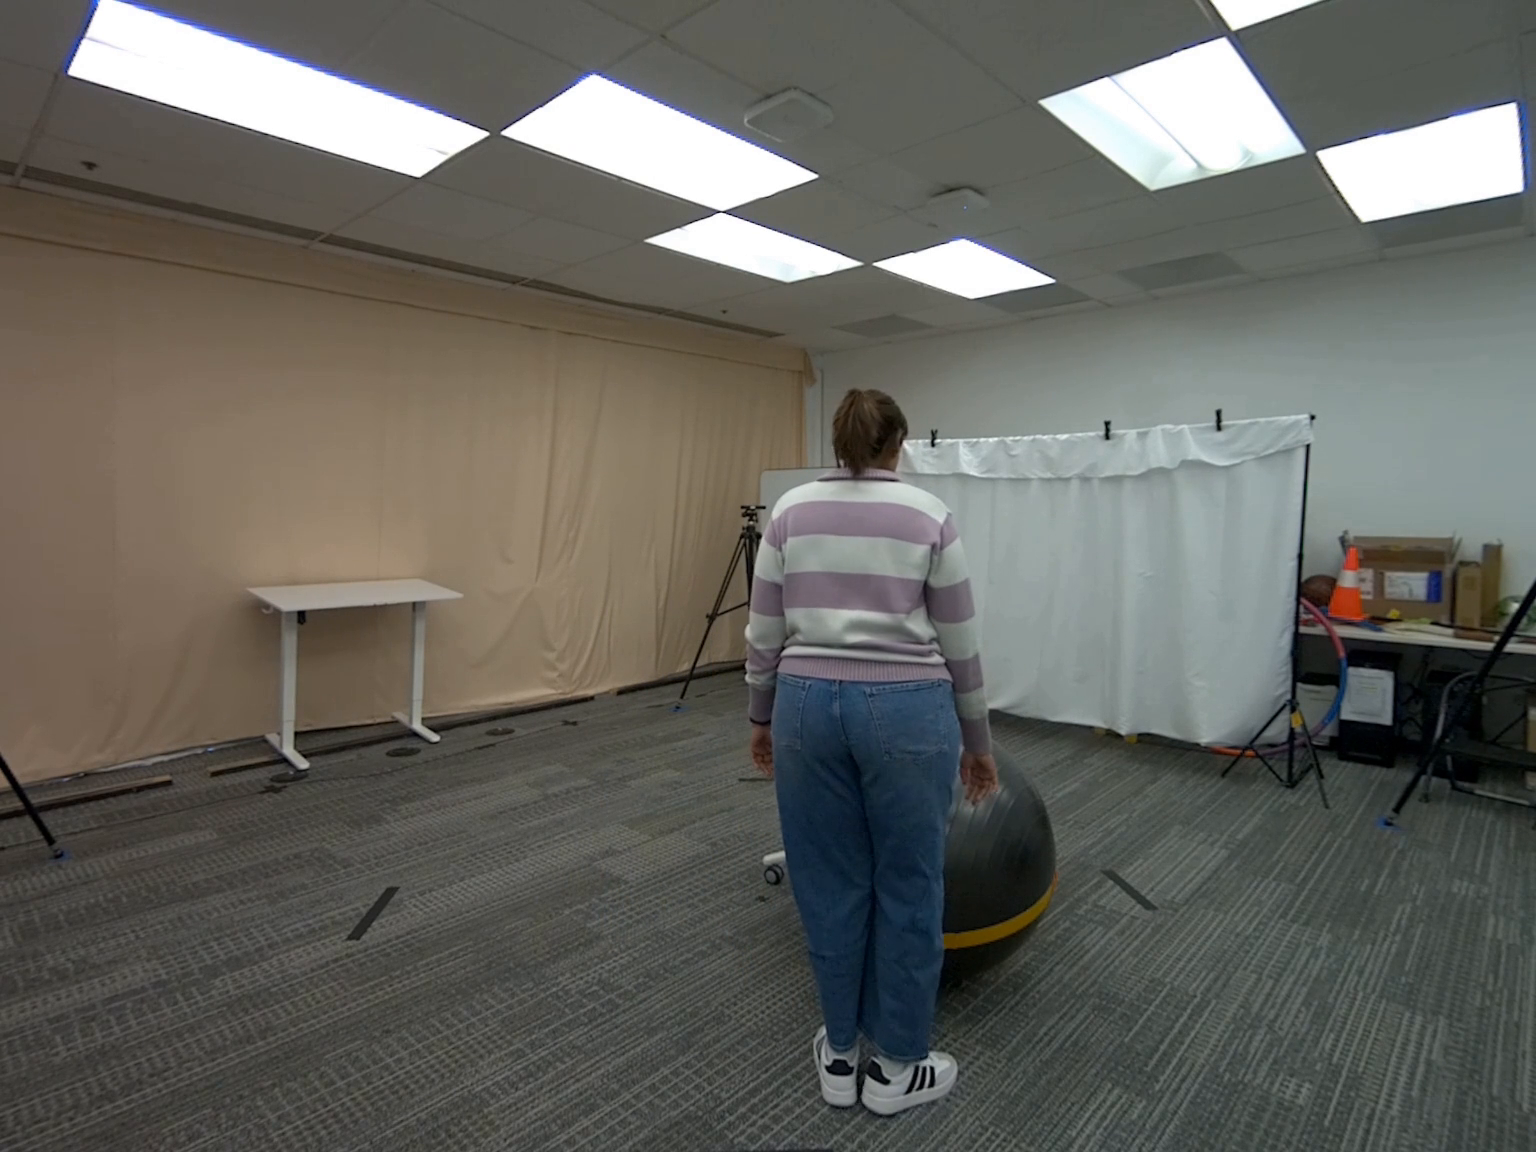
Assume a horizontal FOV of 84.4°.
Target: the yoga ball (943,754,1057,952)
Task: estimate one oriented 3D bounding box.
[{"bbox_3d":[0.471,0.806,2.546,0.757,0.756,0.760,0,4,-2],"label":"yoga ball"}]
